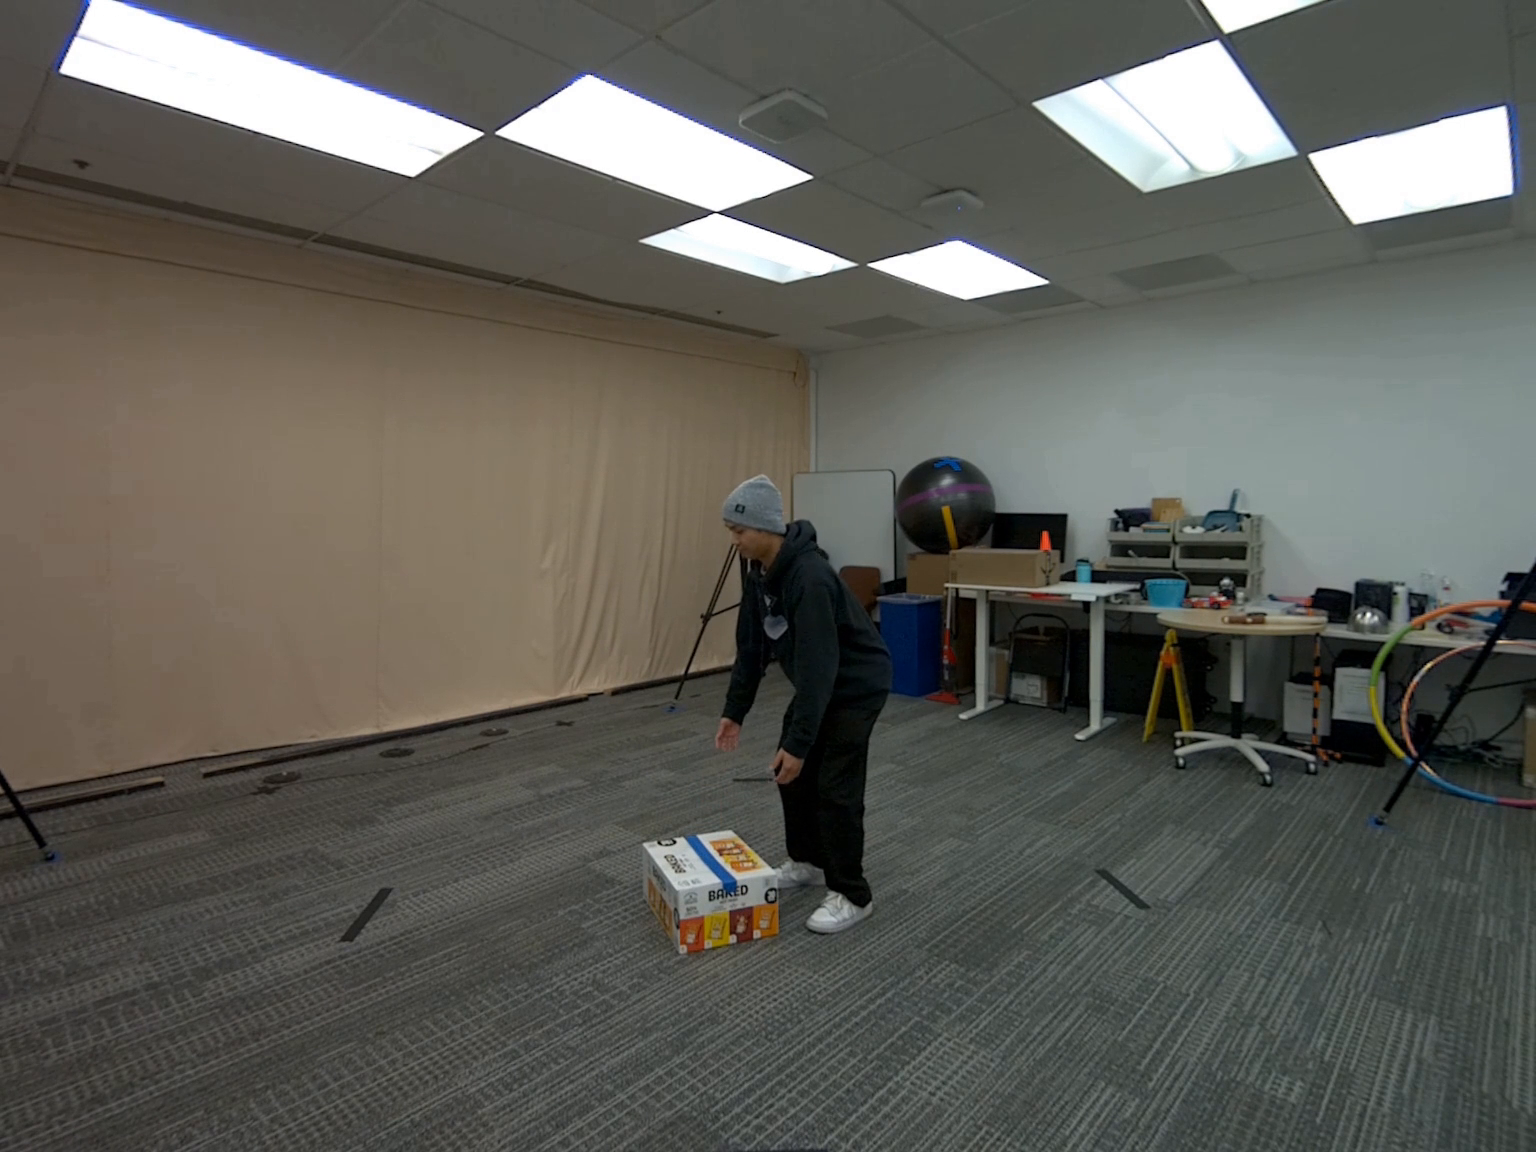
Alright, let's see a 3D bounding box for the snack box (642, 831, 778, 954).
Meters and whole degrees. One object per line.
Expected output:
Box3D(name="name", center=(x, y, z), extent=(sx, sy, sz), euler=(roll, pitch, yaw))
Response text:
Box3D(name="snack box", center=(-0.204, 1.055, 2.850), extent=(0.333, 0.205, 0.415), euler=(-2, 4, -23))
